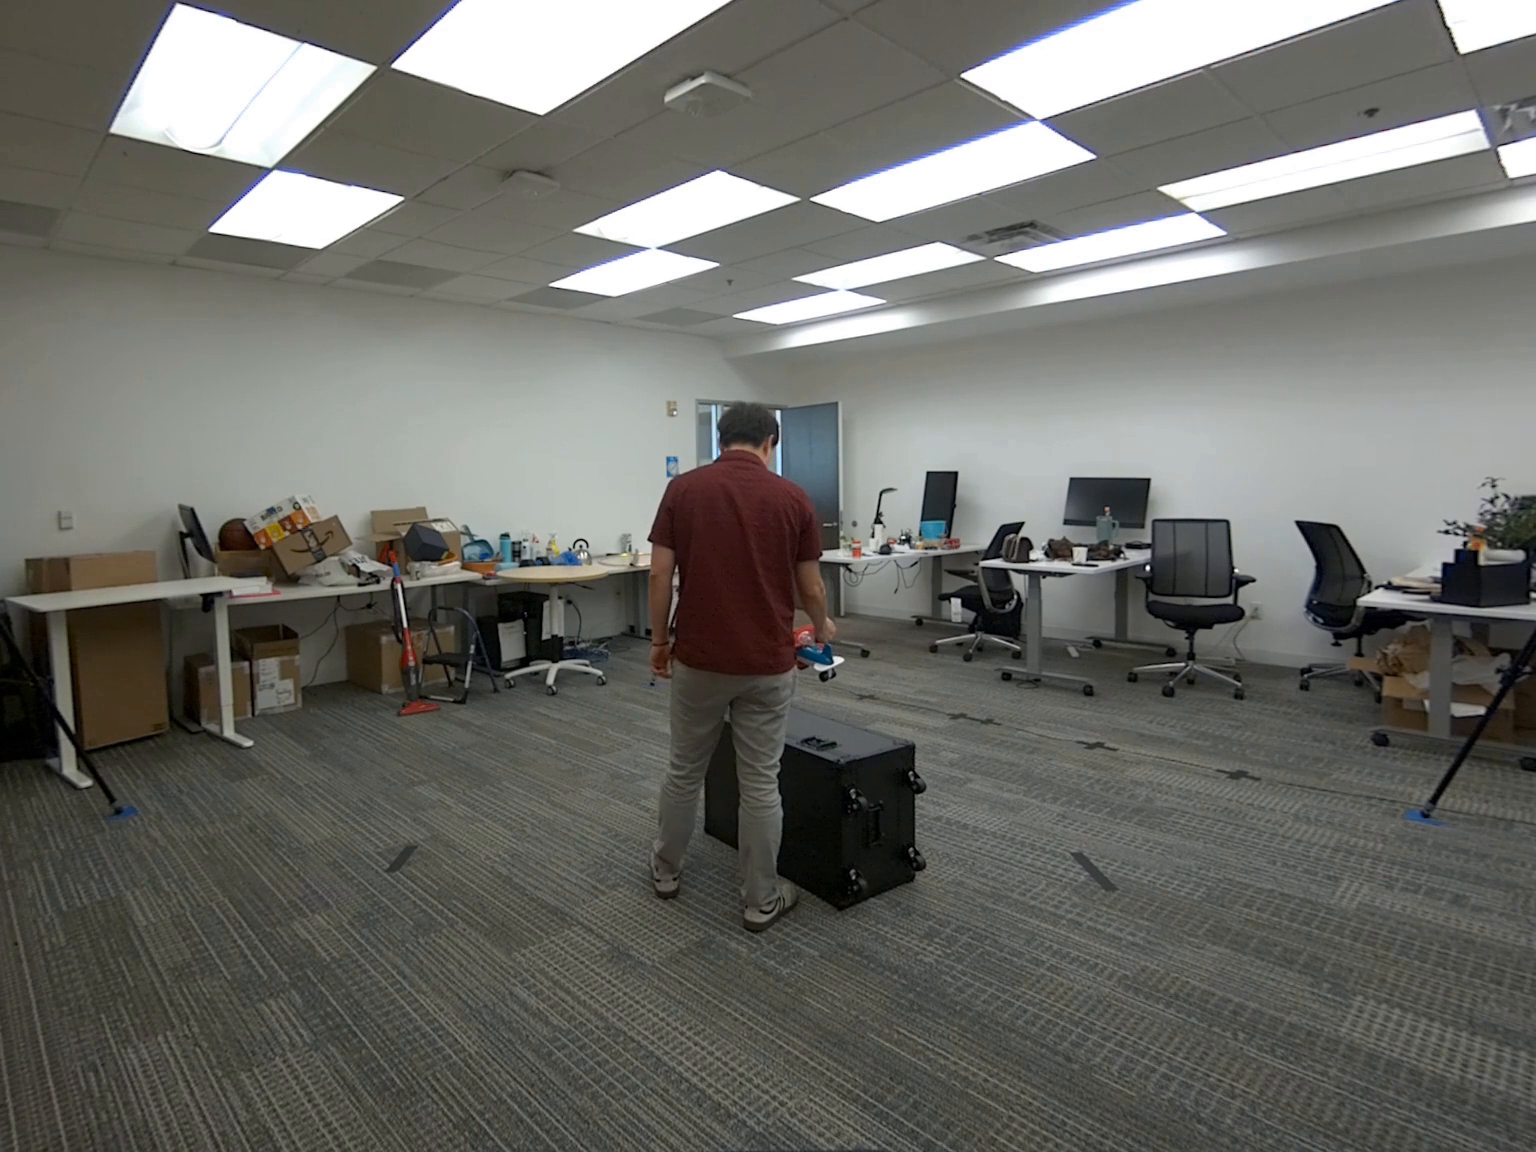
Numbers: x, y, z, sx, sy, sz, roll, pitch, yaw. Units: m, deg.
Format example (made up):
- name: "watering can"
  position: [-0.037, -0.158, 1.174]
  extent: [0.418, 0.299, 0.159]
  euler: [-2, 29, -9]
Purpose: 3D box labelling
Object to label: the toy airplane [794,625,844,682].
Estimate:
- name: "toy airplane"
  position: [0.145, 0.266, 2.947]
  extent: [0.264, 0.155, 0.249]
  euler: [-7, 12, 24]
